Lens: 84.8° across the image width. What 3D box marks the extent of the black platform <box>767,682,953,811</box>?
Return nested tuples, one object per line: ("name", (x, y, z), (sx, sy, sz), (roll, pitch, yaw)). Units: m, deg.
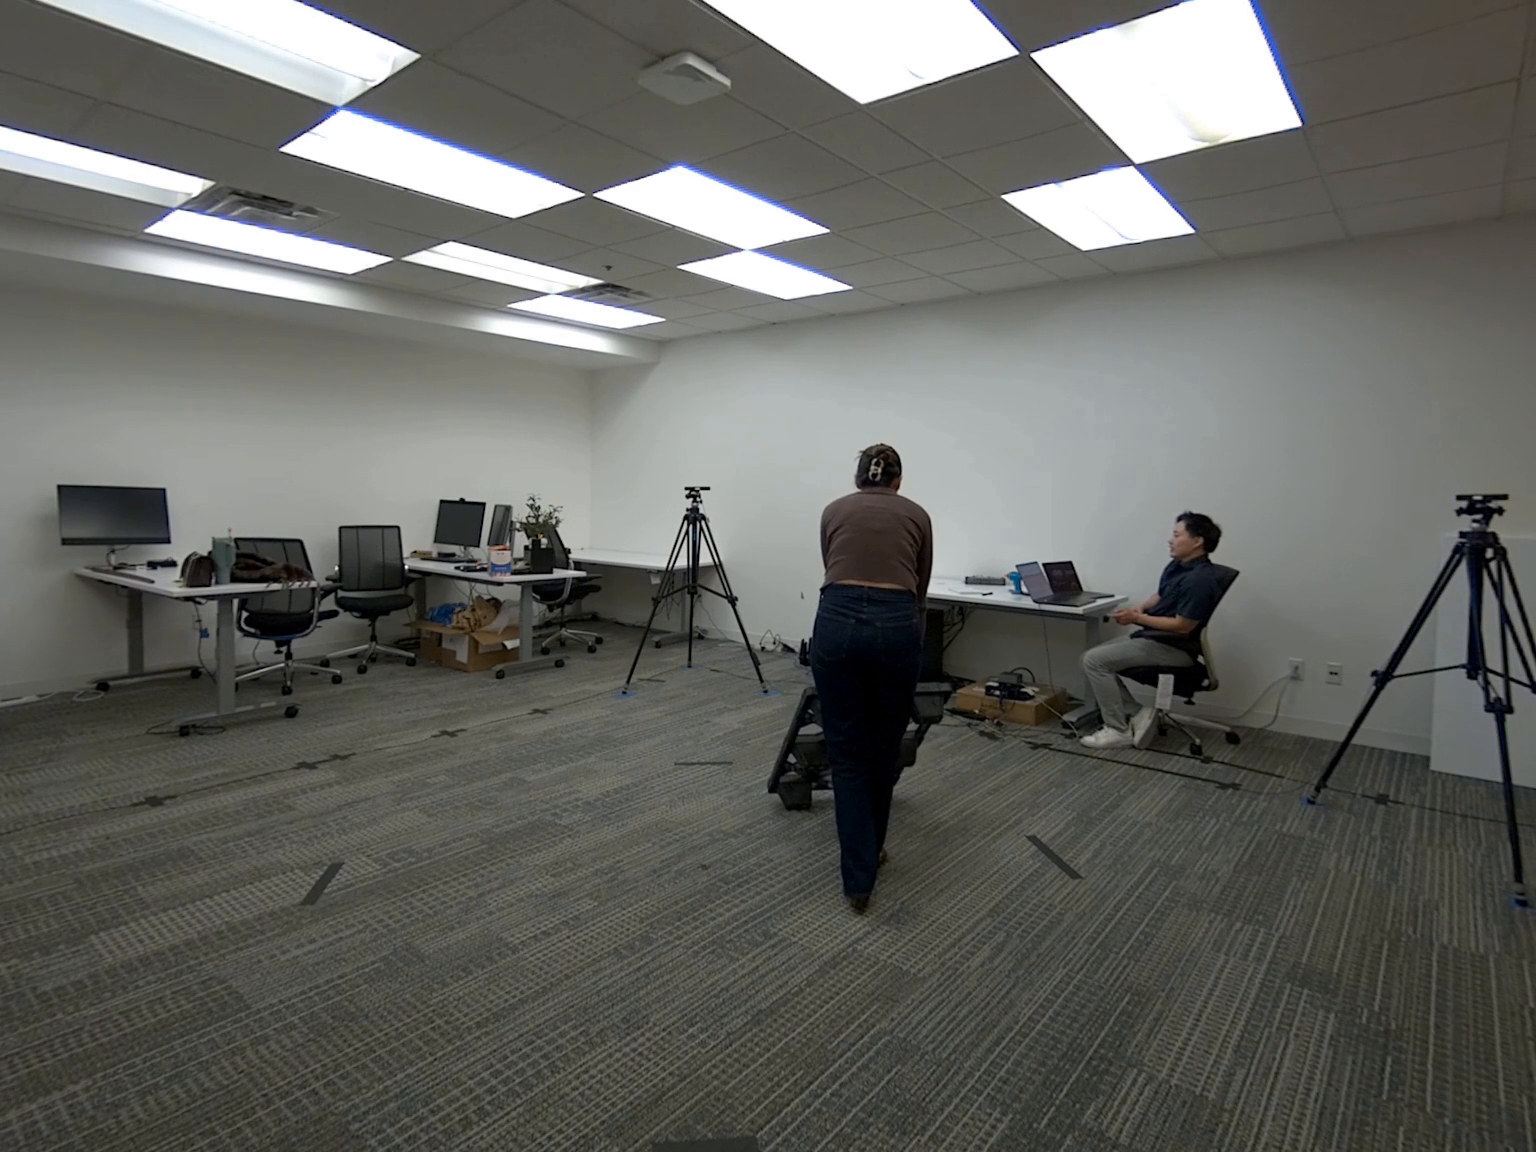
("black platform", (0.357, 0.718, 3.515), (0.597, 0.789, 0.148), (0, 47, -13))
